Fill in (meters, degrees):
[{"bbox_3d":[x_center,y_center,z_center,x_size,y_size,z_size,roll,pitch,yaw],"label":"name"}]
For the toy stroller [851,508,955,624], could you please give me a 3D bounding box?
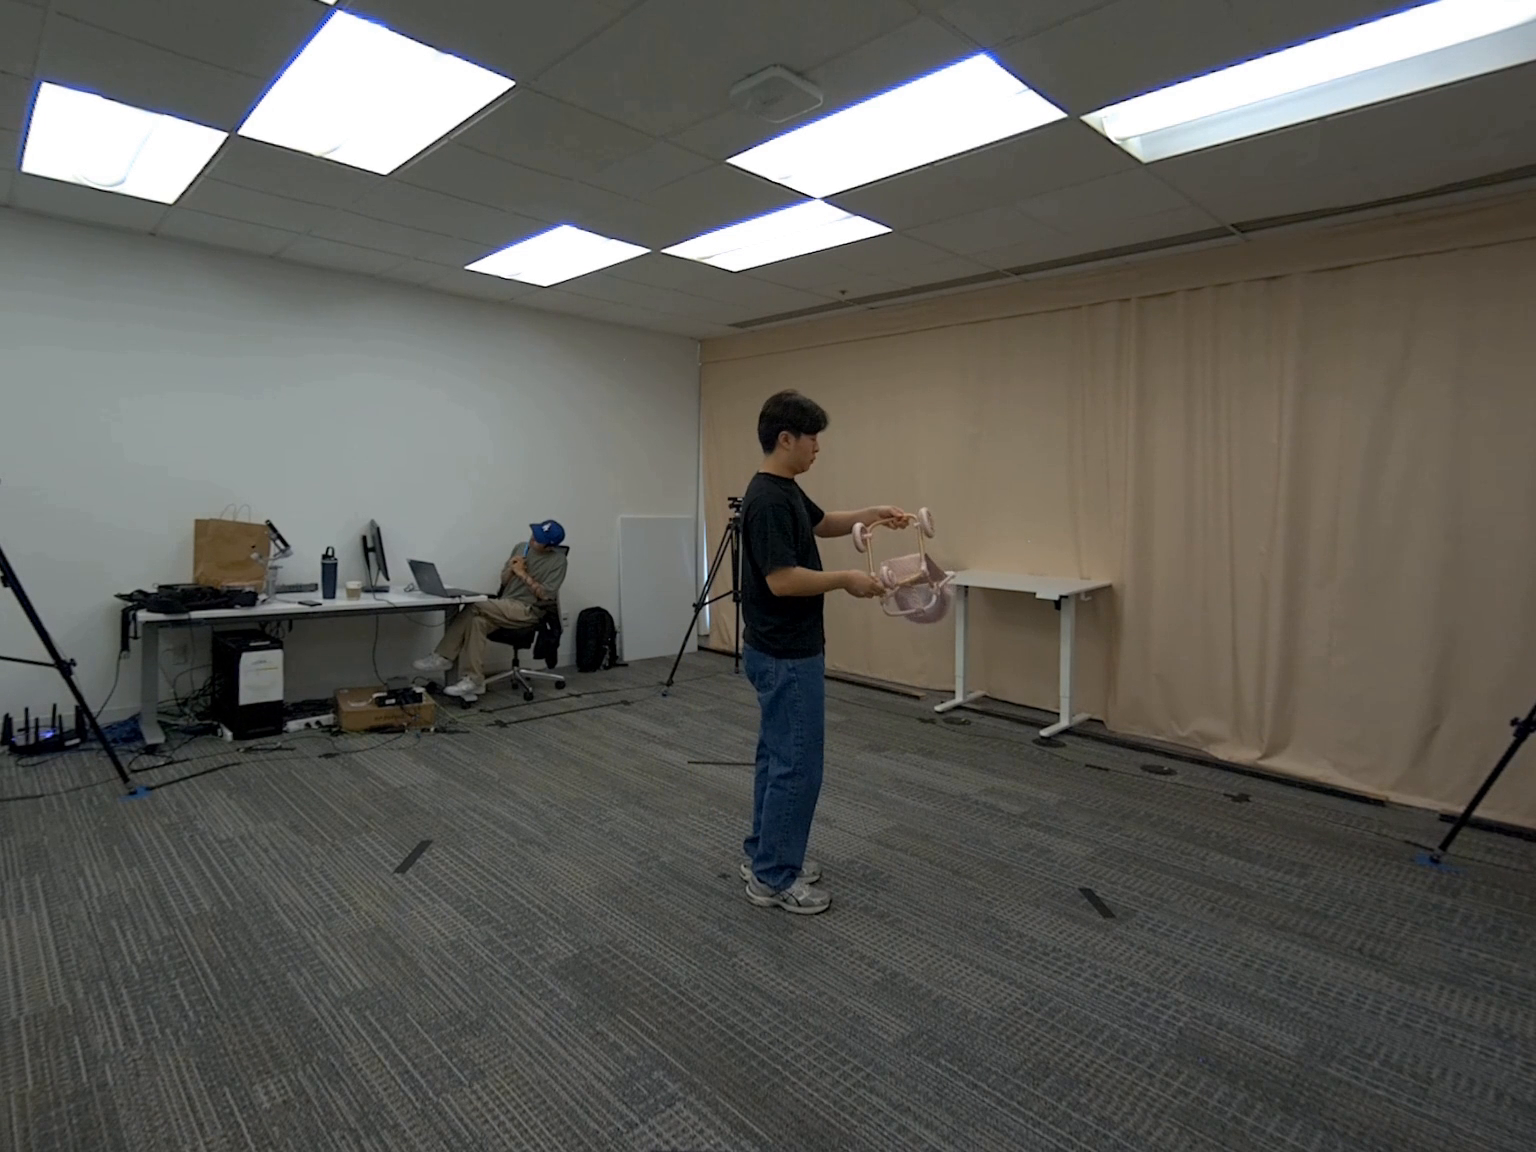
[{"bbox_3d":[0.506,0.008,3.023,0.284,0.348,0.518,-17,-41,22],"label":"toy stroller"}]
